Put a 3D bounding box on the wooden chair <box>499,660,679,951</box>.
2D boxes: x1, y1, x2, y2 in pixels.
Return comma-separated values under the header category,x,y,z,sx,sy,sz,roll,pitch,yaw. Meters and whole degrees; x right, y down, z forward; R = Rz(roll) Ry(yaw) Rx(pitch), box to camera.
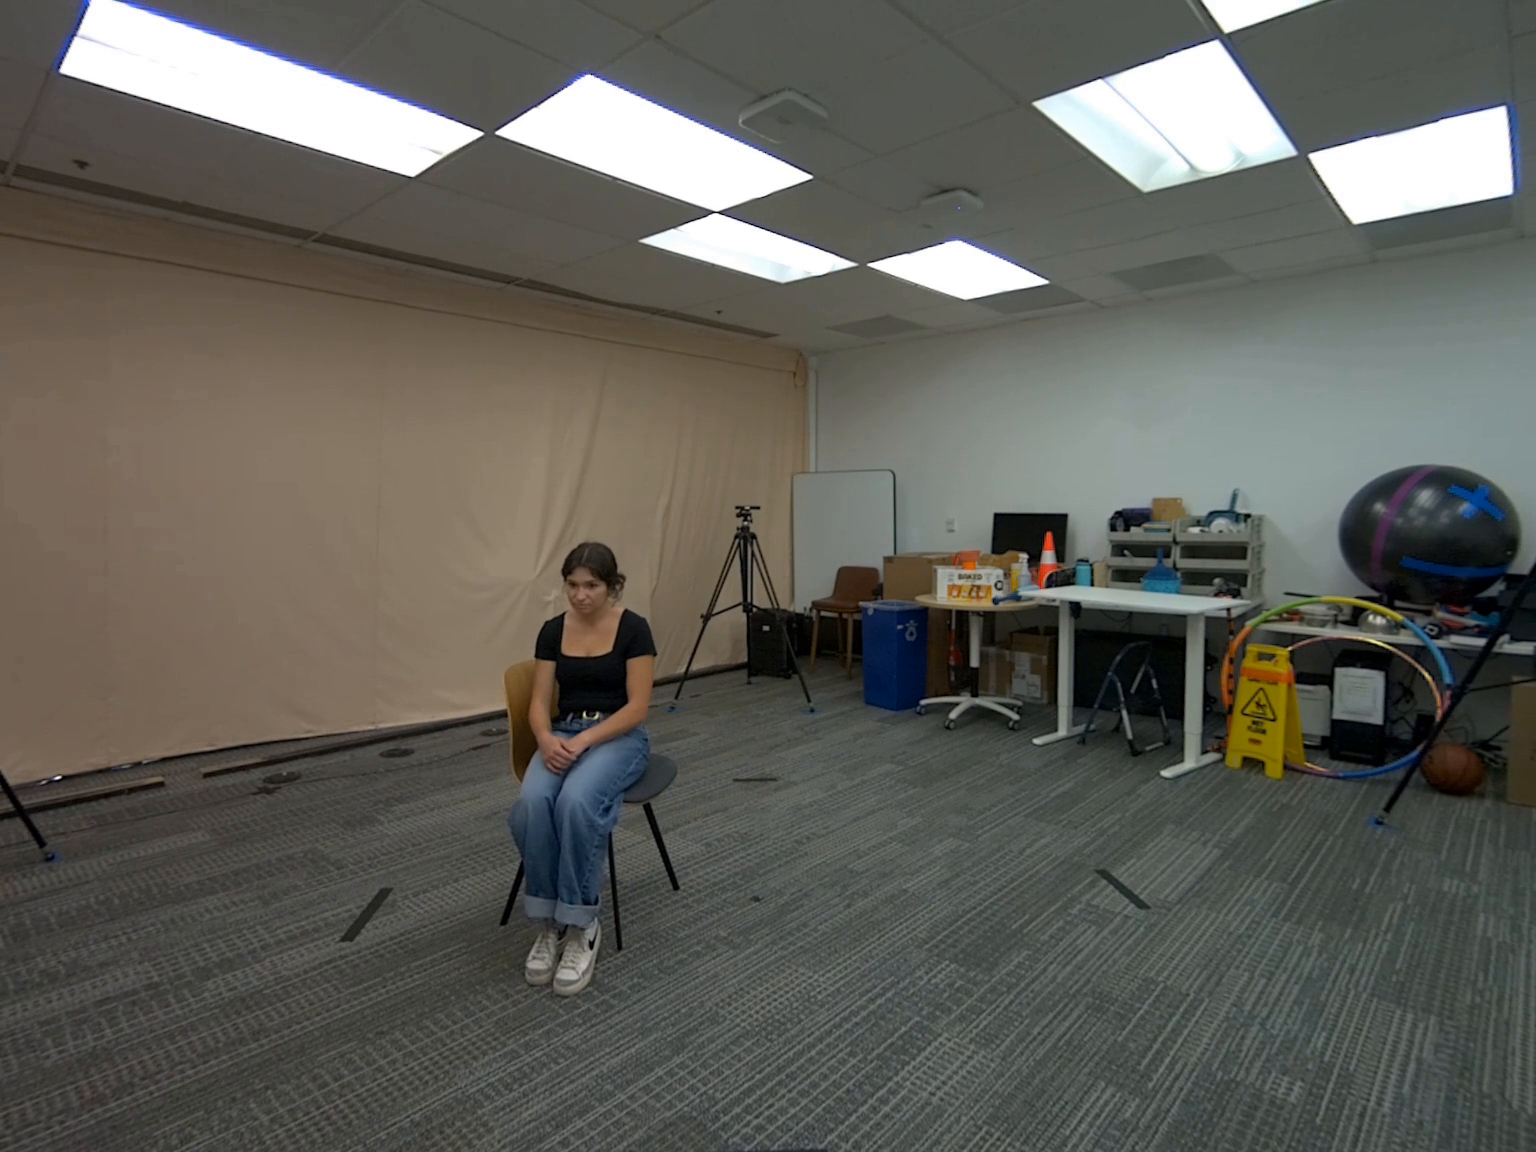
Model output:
category,x,y,z,sx,sy,sz,roll,pitch,yaw
wooden chair,-0.605,0.733,2.905,0.534,0.875,0.469,-3,3,20
